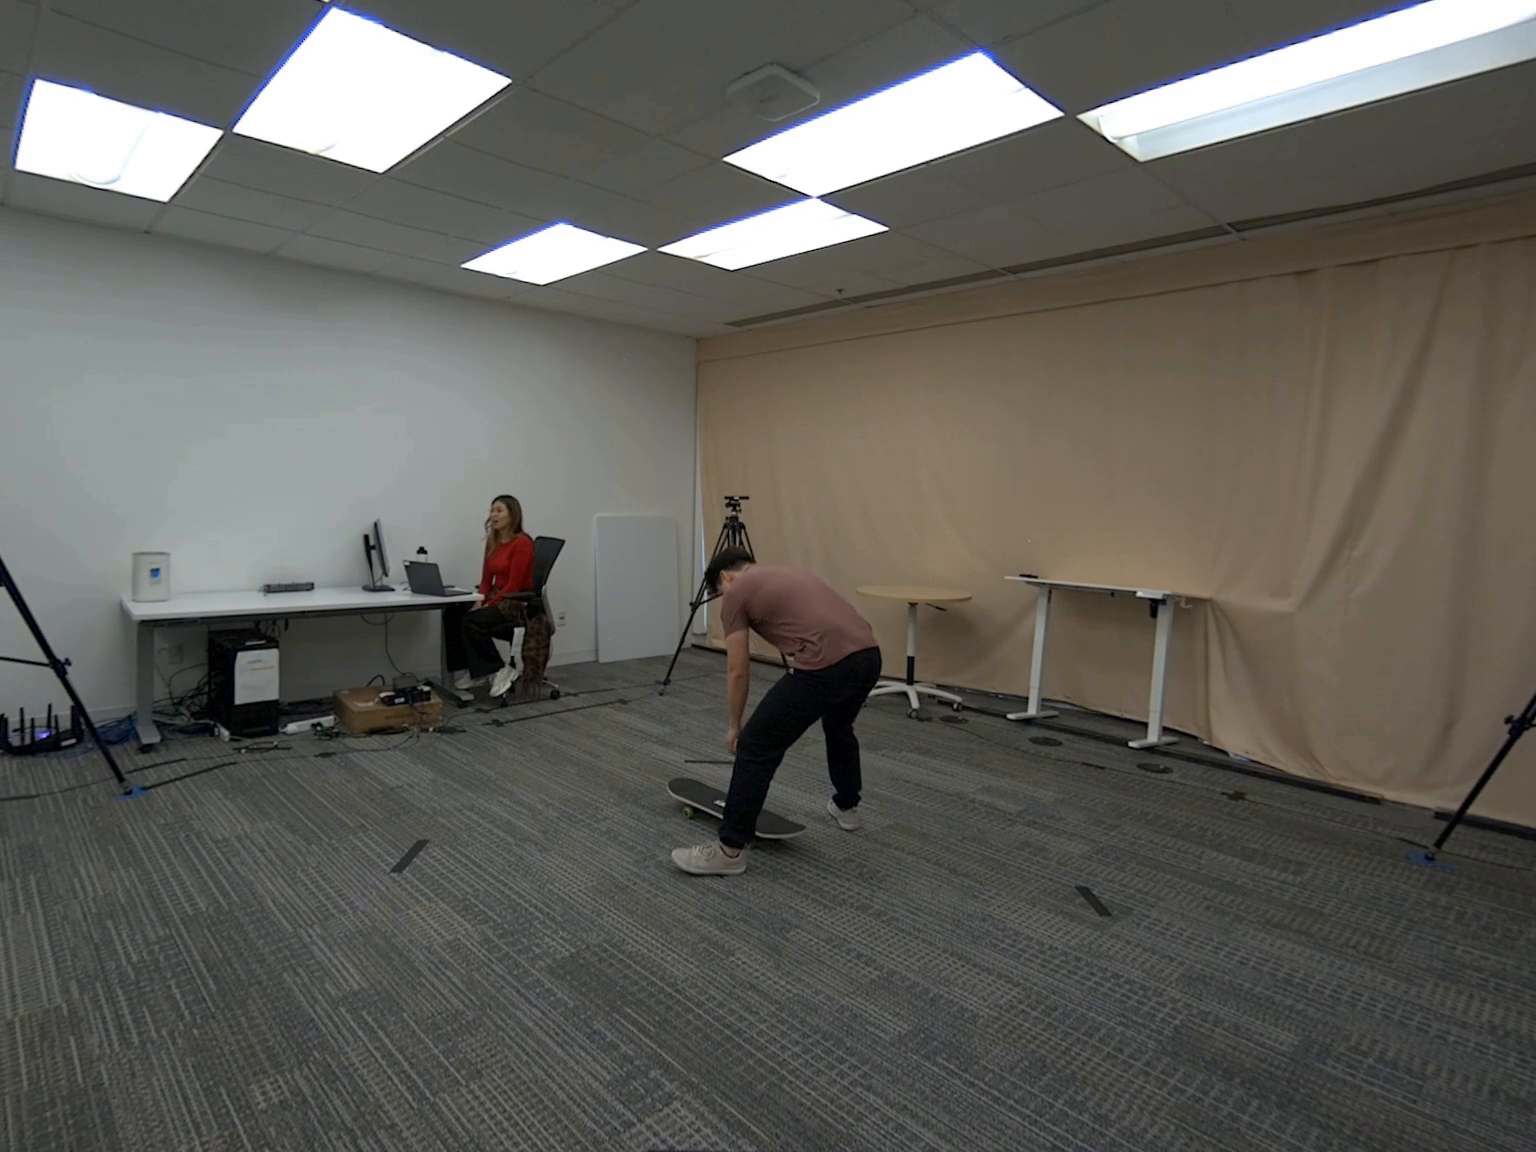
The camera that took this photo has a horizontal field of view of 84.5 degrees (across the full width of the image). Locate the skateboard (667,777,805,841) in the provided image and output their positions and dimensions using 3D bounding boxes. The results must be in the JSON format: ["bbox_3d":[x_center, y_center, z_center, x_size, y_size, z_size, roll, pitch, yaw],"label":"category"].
[{"bbox_3d":[-0.162,1.012,3.547,0.189,0.110,0.806,-4,7,-43],"label":"skateboard"}]
